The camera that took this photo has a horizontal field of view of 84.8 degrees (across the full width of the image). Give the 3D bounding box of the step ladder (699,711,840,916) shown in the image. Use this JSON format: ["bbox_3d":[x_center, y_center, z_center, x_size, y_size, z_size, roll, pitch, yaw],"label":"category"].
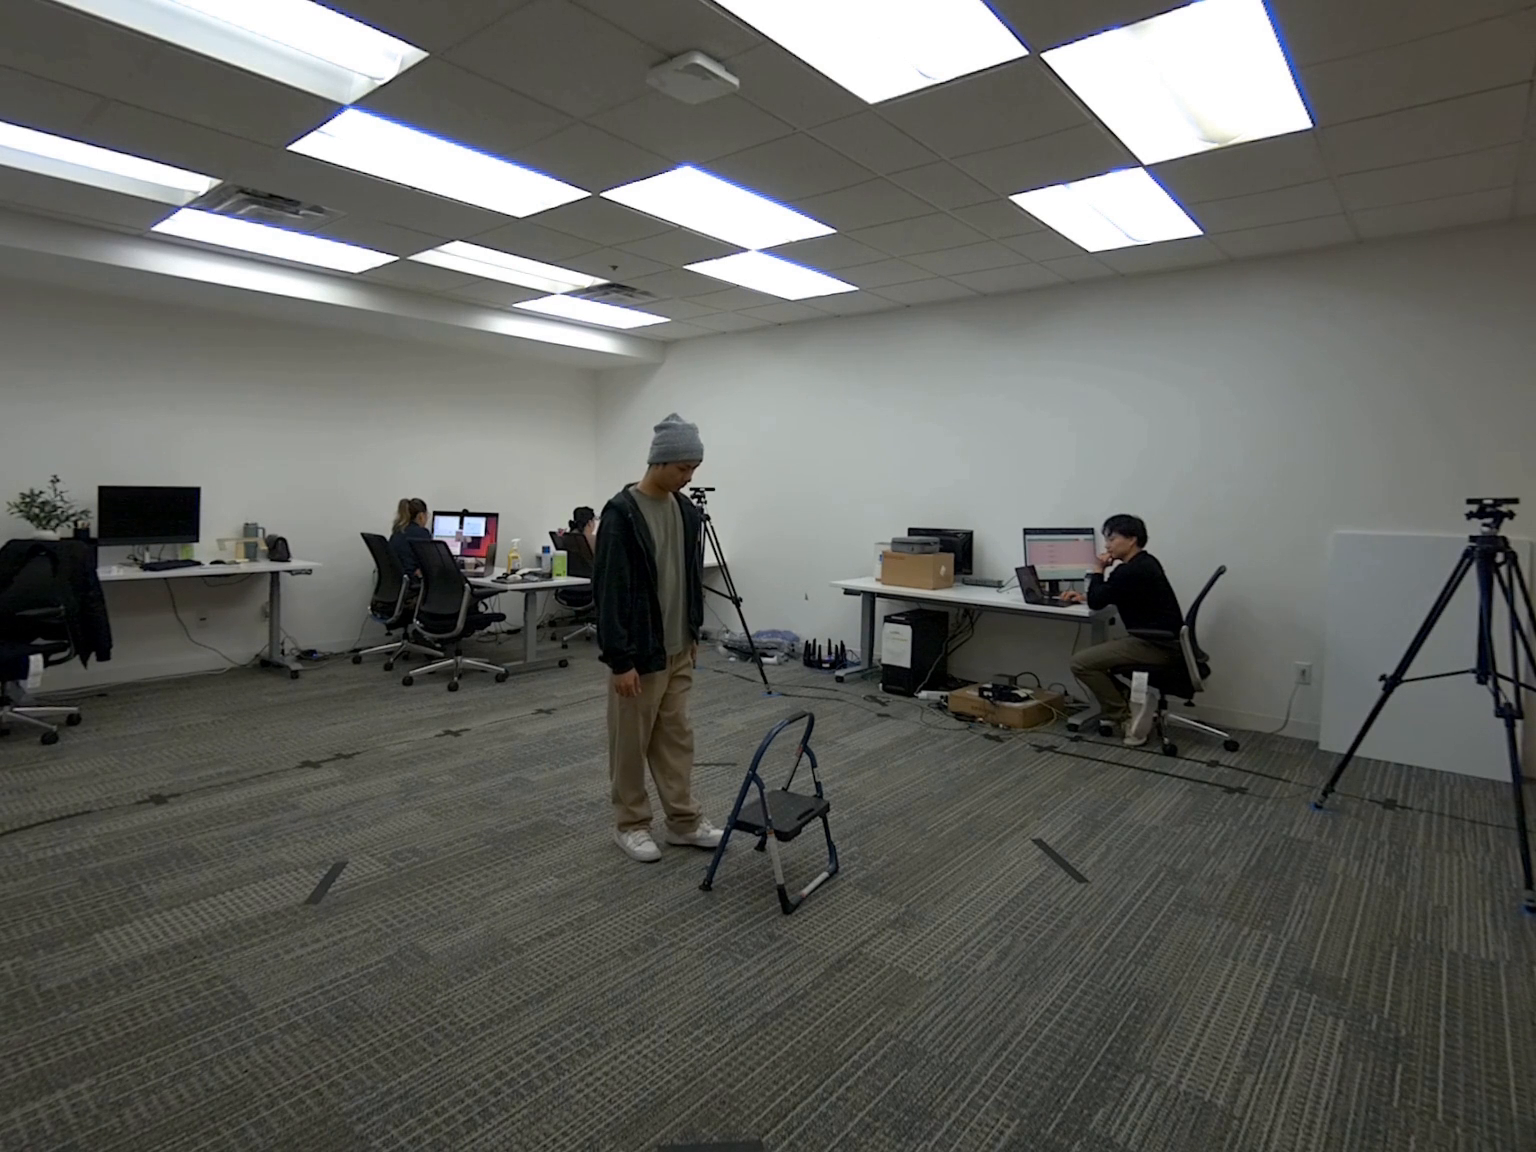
[{"bbox_3d":[0.014,0.776,3.018,0.359,0.604,0.420,3,4,29],"label":"step ladder"}]
